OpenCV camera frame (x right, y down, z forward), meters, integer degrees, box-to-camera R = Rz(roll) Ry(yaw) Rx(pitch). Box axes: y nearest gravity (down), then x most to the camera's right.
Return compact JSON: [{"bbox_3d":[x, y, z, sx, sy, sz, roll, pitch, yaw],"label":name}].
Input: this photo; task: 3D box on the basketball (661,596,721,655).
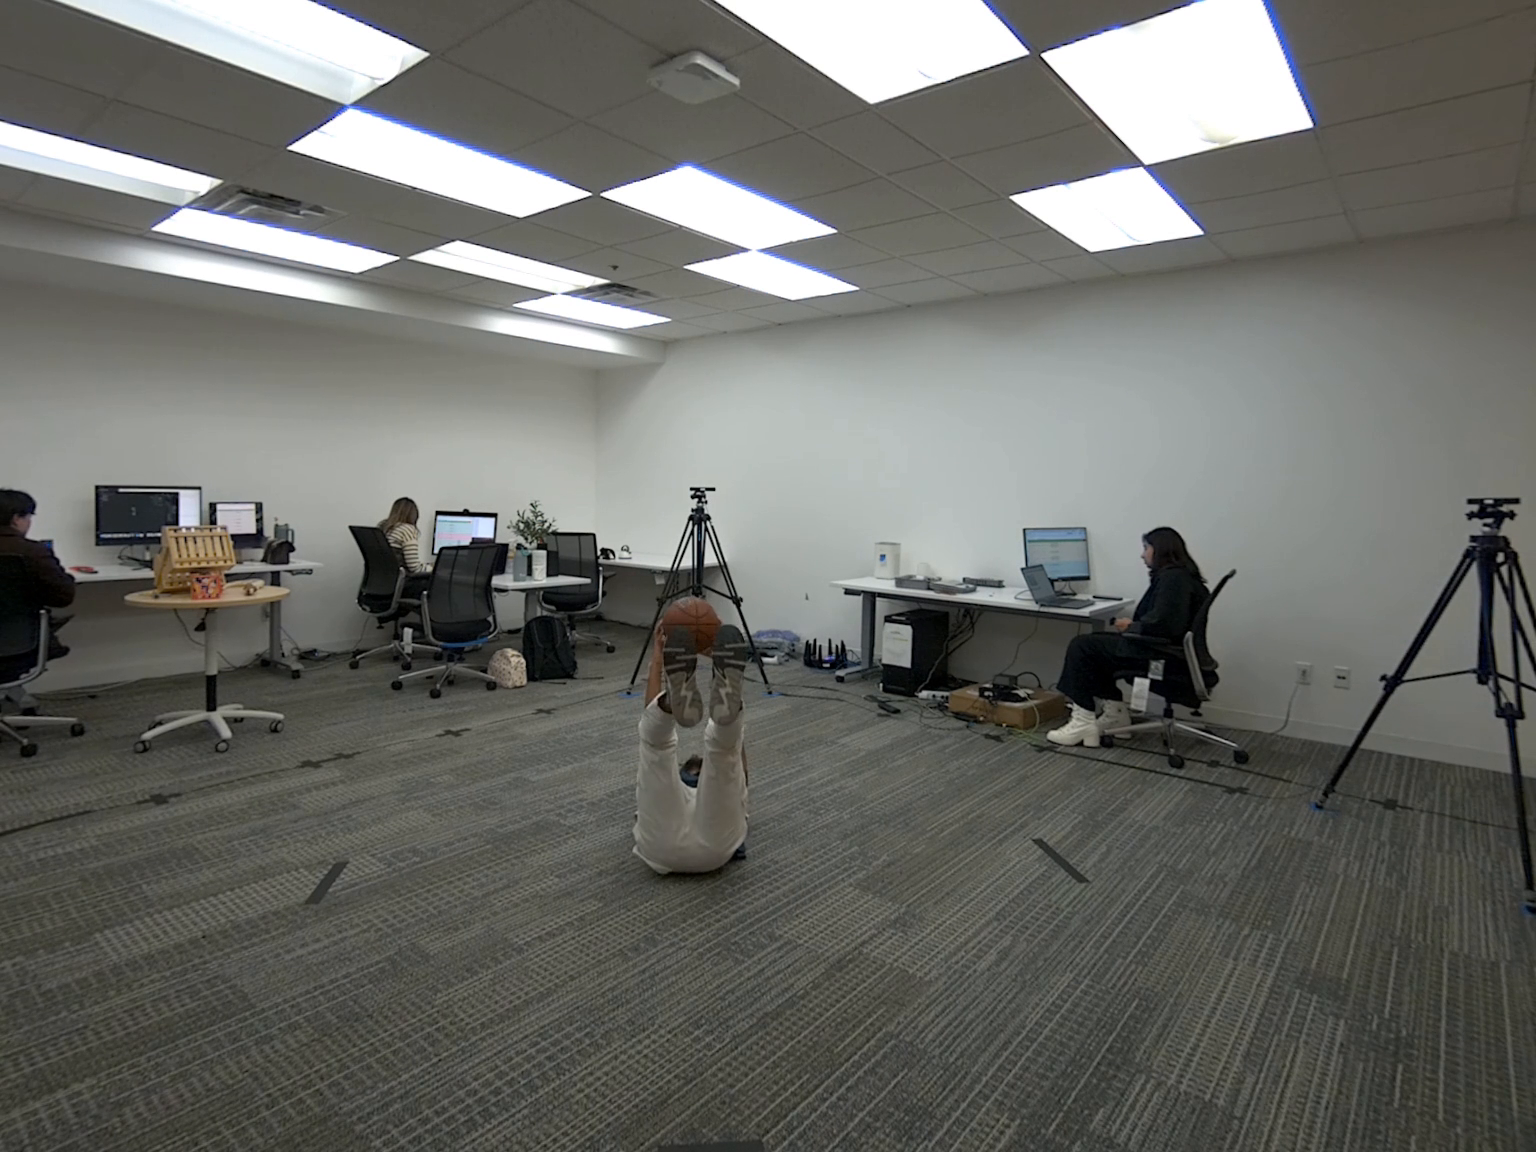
[{"bbox_3d":[-0.336,0.209,3.579,0.235,0.235,0.237,1,4,-2],"label":"basketball"}]
